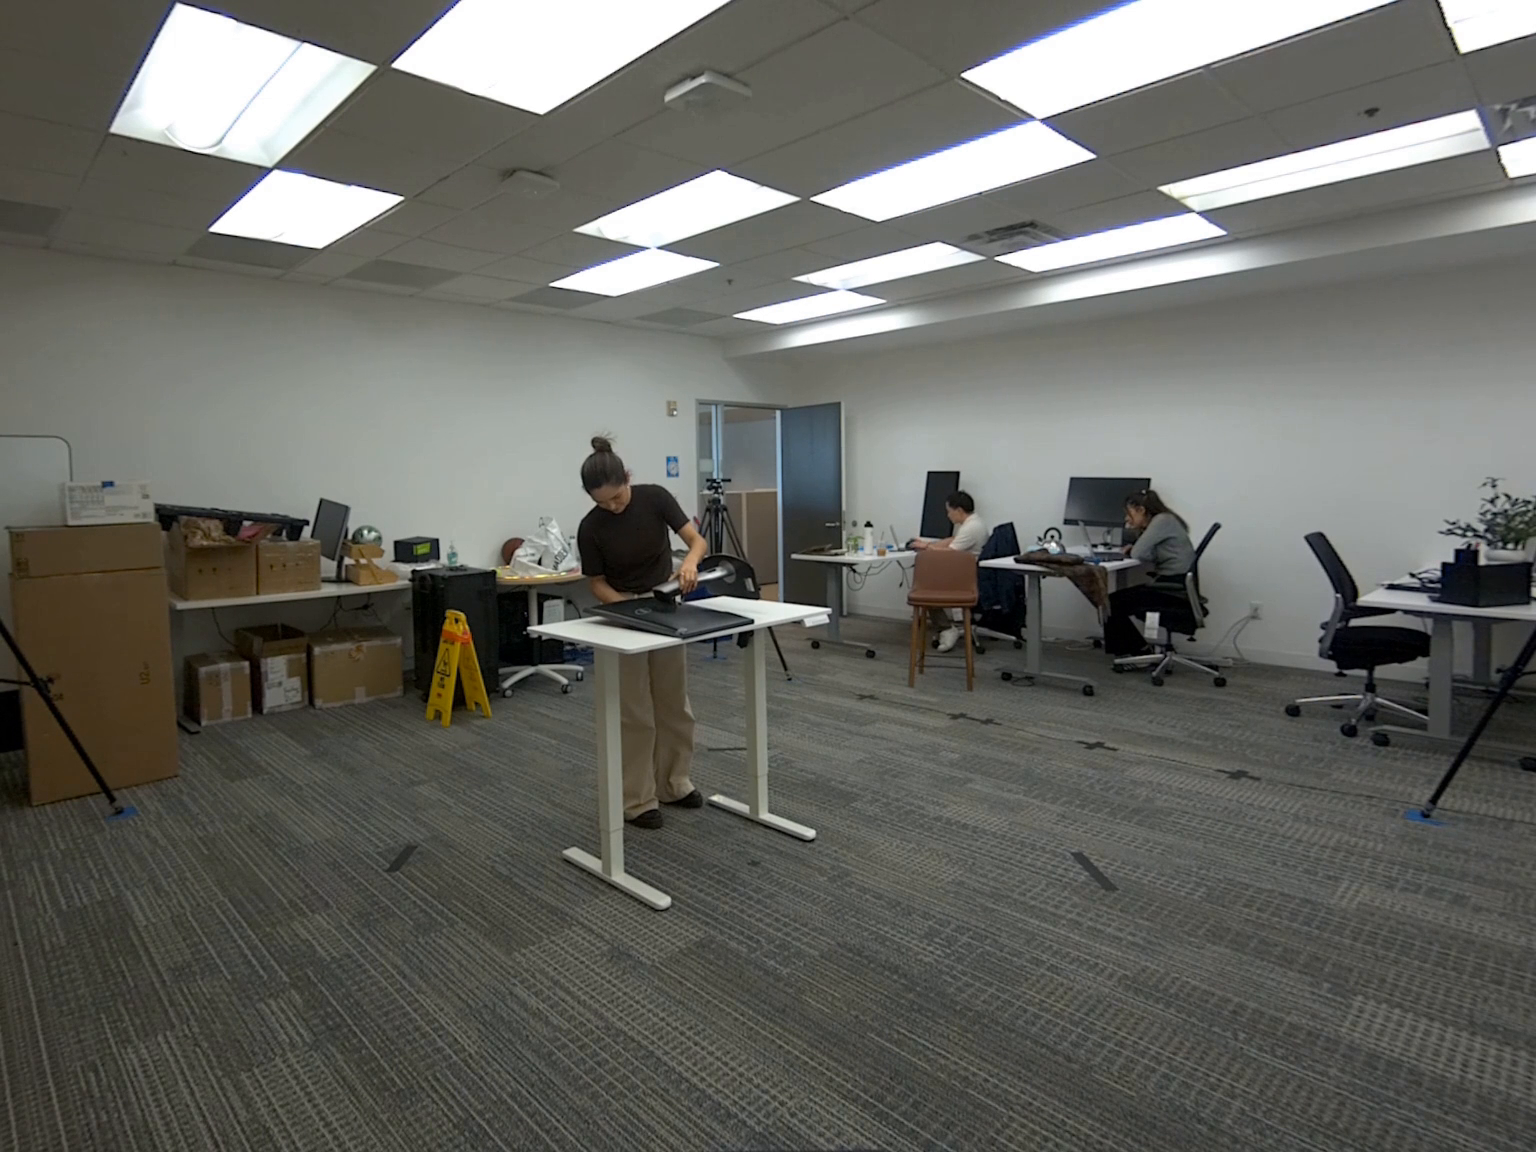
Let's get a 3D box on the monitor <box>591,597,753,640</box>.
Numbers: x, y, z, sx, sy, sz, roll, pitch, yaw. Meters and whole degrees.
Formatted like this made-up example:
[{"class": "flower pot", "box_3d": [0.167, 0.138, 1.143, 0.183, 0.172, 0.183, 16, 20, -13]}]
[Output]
[{"class": "monitor", "box_3d": [-0.301, 0.088, 3.131, 0.556, 0.184, 0.516, 6, 26, 43]}]
